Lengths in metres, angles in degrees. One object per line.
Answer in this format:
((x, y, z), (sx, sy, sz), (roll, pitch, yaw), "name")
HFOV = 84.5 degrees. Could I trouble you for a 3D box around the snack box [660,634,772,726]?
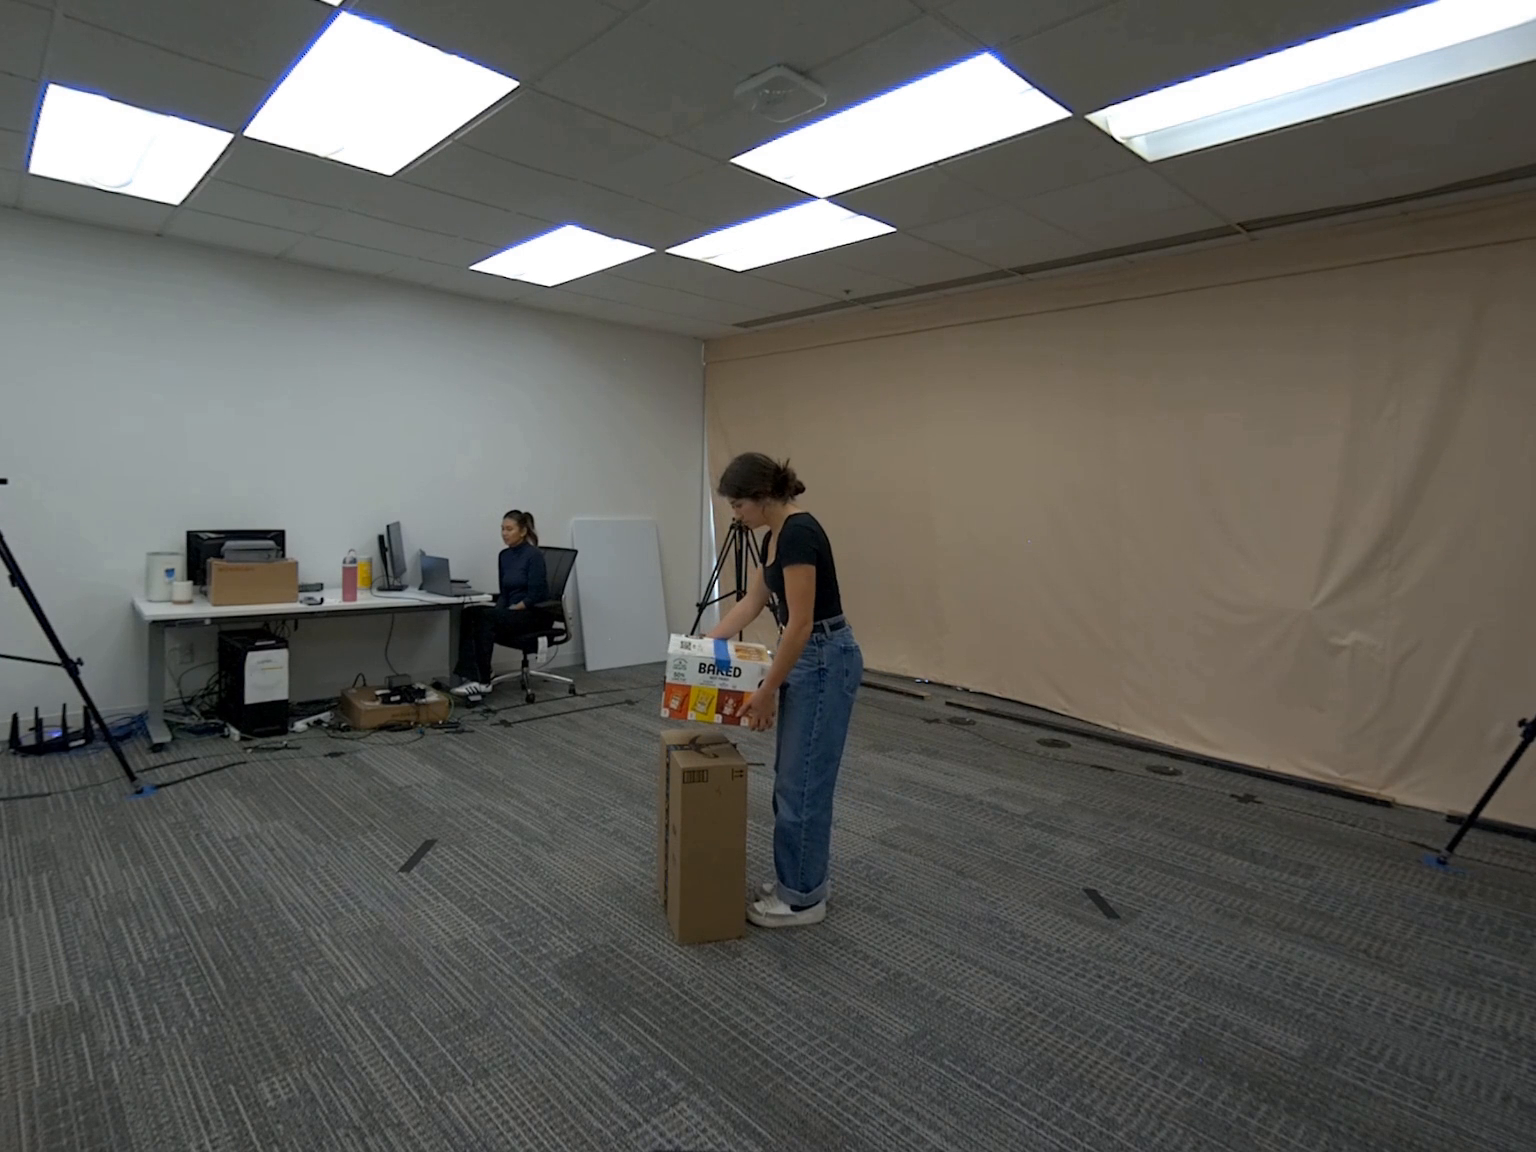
((-0.178, 0.346, 2.827), (0.339, 0.205, 0.407), (7, 4, -4), "snack box")
